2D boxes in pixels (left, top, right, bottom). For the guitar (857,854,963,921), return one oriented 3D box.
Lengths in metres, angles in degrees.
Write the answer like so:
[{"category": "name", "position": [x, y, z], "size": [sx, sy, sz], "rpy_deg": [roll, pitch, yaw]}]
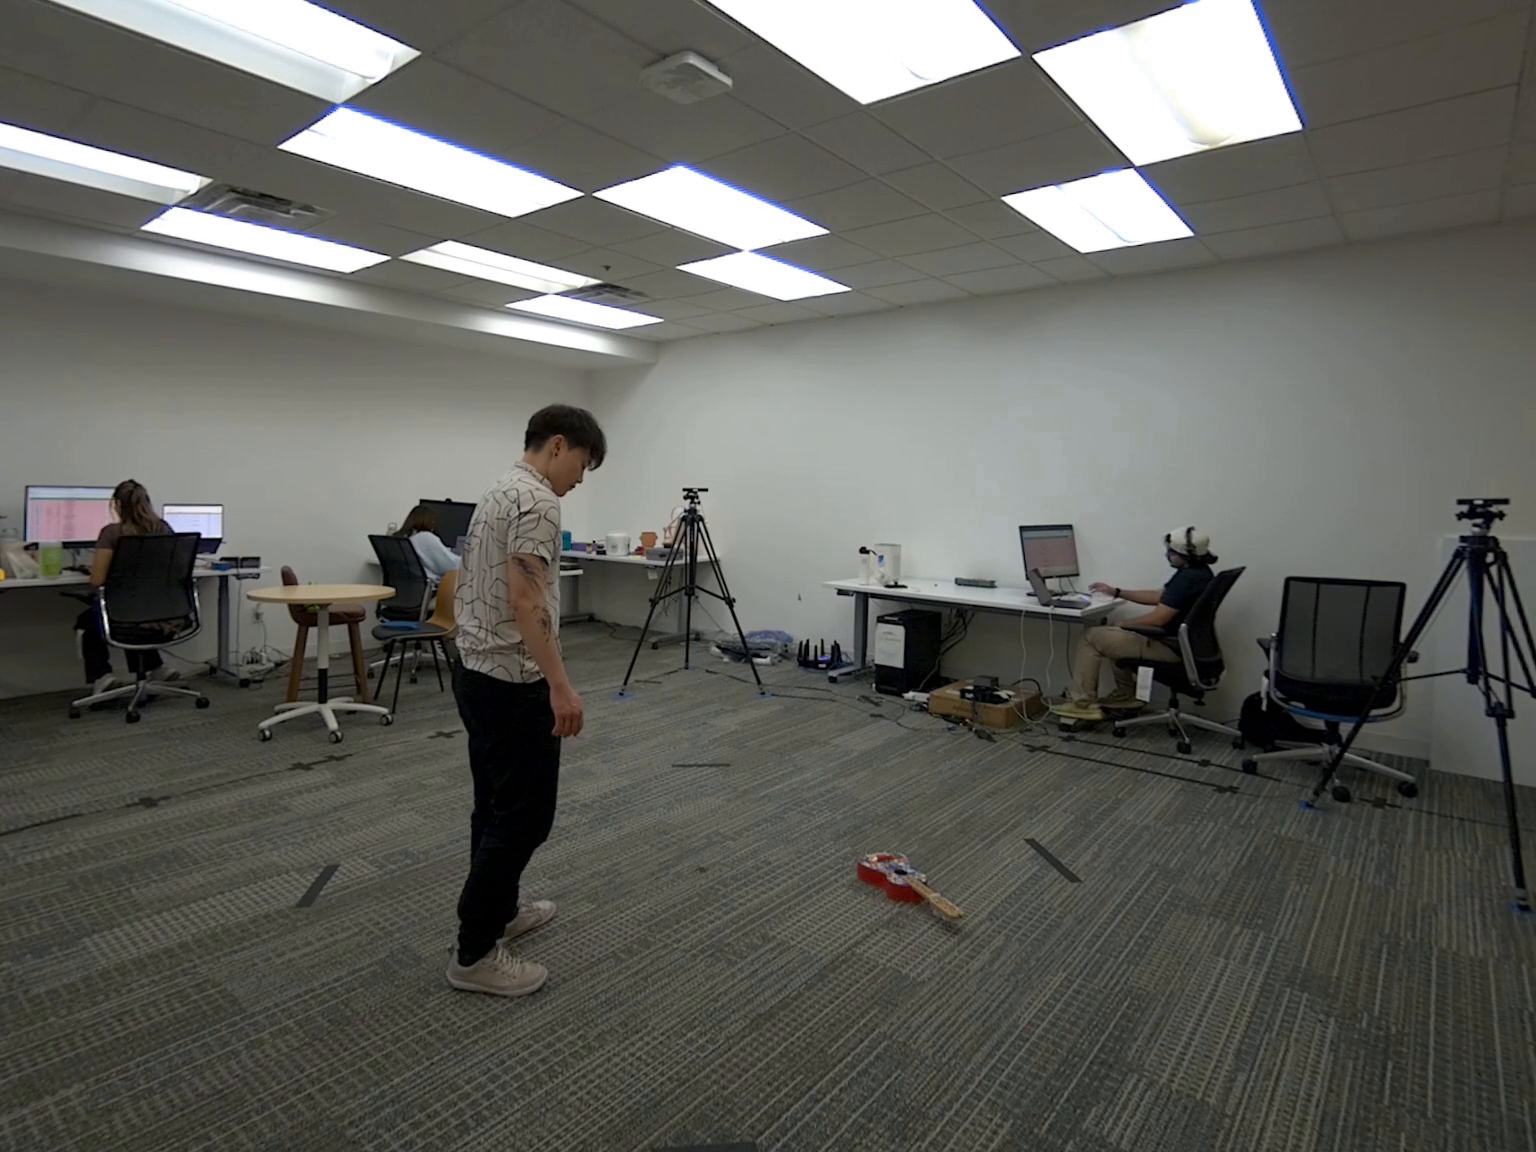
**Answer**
[{"category": "guitar", "position": [0.465, 1.070, 2.911], "size": [0.190, 0.070, 0.507], "rpy_deg": [1, 5, -16]}]
